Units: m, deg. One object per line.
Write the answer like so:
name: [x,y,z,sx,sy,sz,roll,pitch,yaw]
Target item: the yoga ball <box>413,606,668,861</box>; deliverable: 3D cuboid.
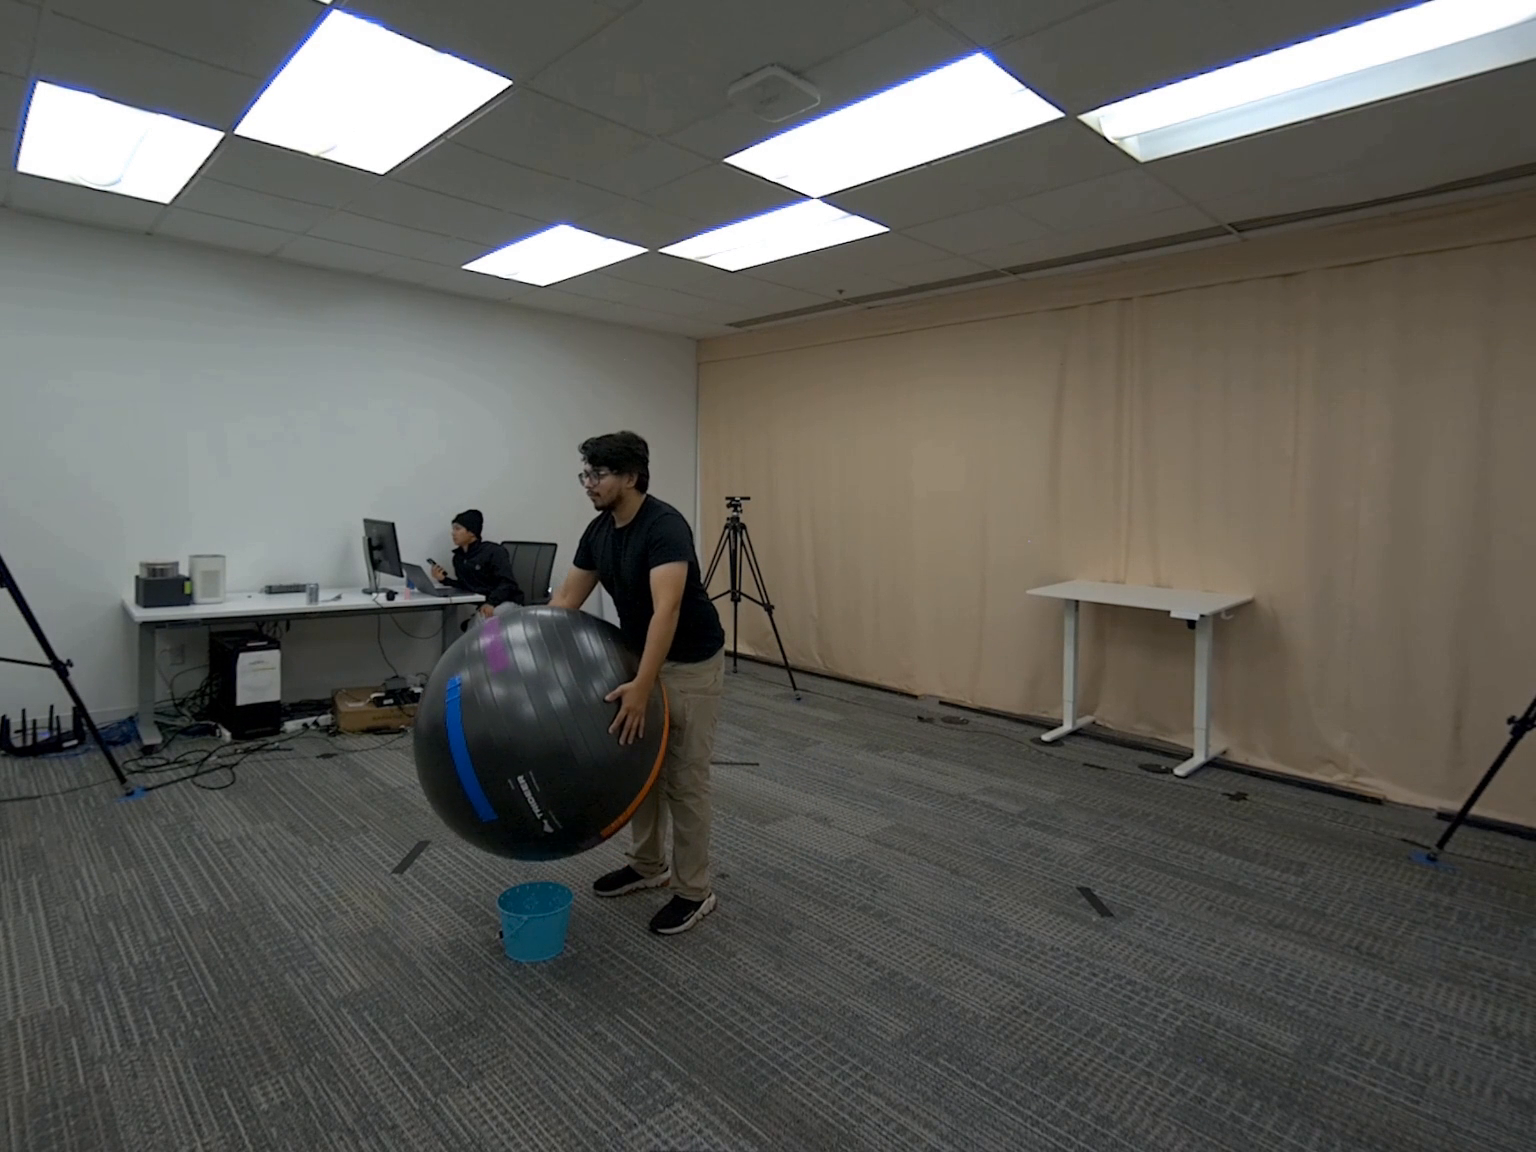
yoga ball: [-0.693,0.479,2.572,0.757,0.756,0.761,1,4,-1]
